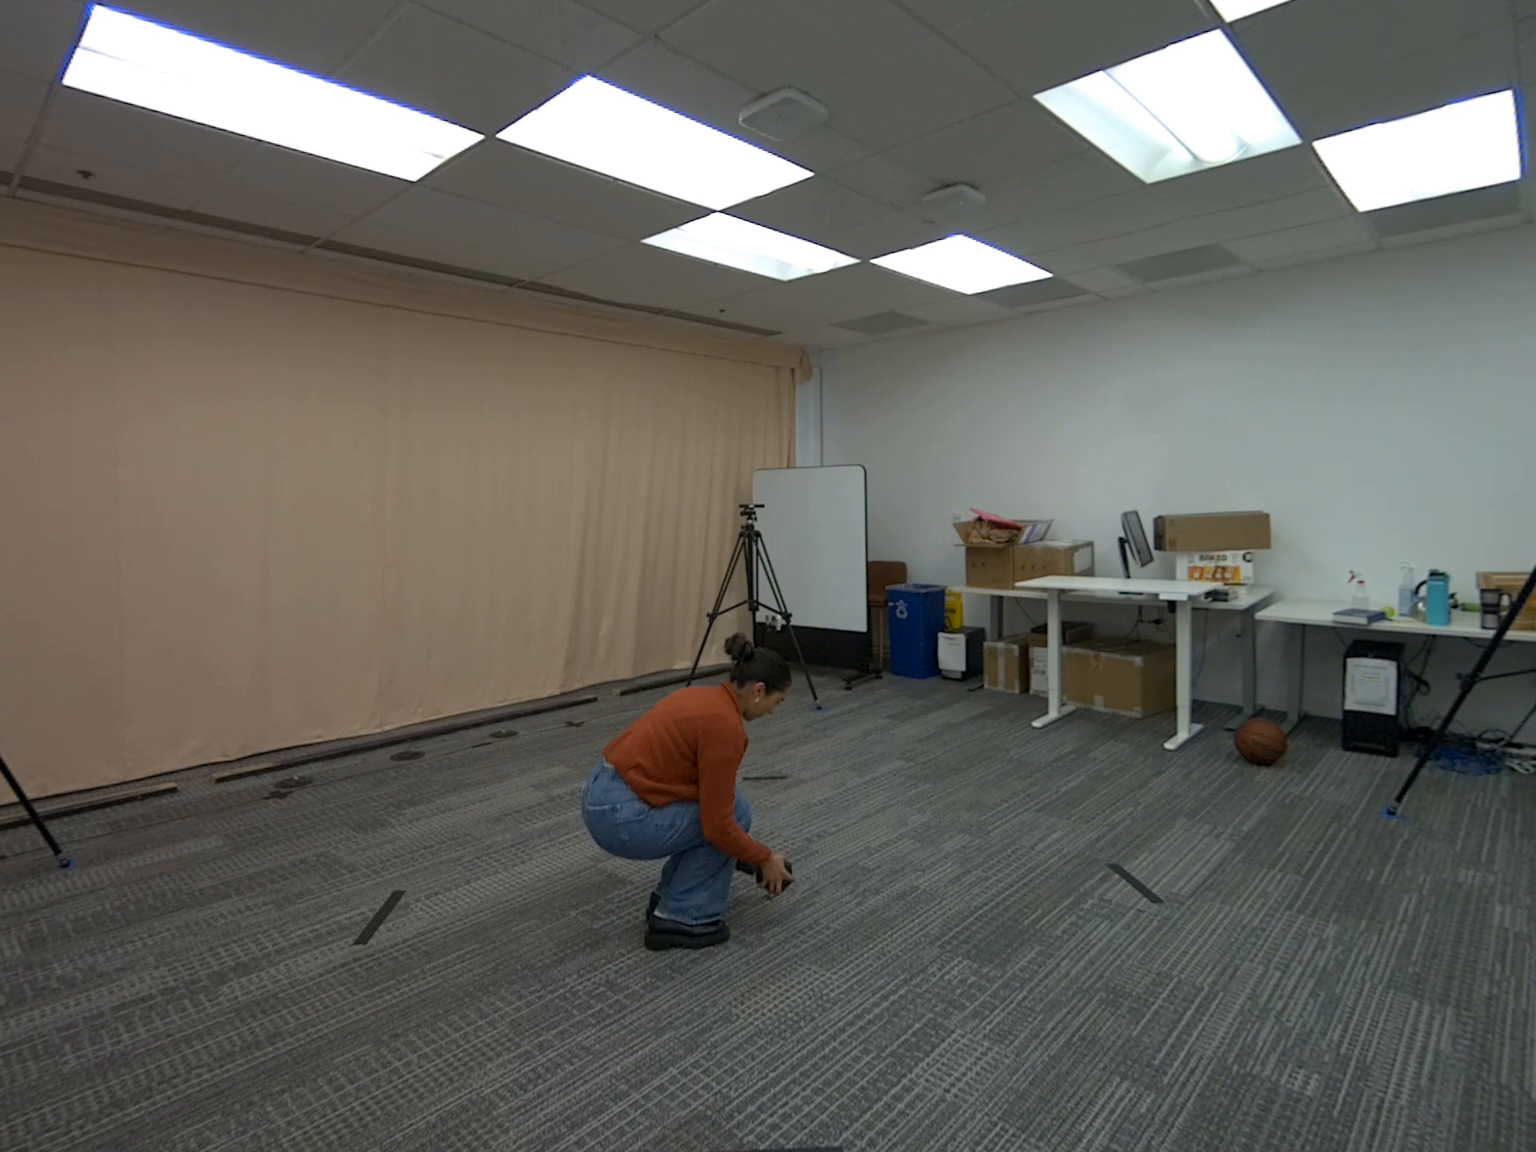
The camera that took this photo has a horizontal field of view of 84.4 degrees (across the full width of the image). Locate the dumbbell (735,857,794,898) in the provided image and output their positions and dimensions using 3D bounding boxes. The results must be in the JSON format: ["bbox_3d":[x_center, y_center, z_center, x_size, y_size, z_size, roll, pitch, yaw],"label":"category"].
[{"bbox_3d":[-0.024,0.973,2.856,0.120,0.109,0.300,25,-10,-20],"label":"dumbbell"}]
